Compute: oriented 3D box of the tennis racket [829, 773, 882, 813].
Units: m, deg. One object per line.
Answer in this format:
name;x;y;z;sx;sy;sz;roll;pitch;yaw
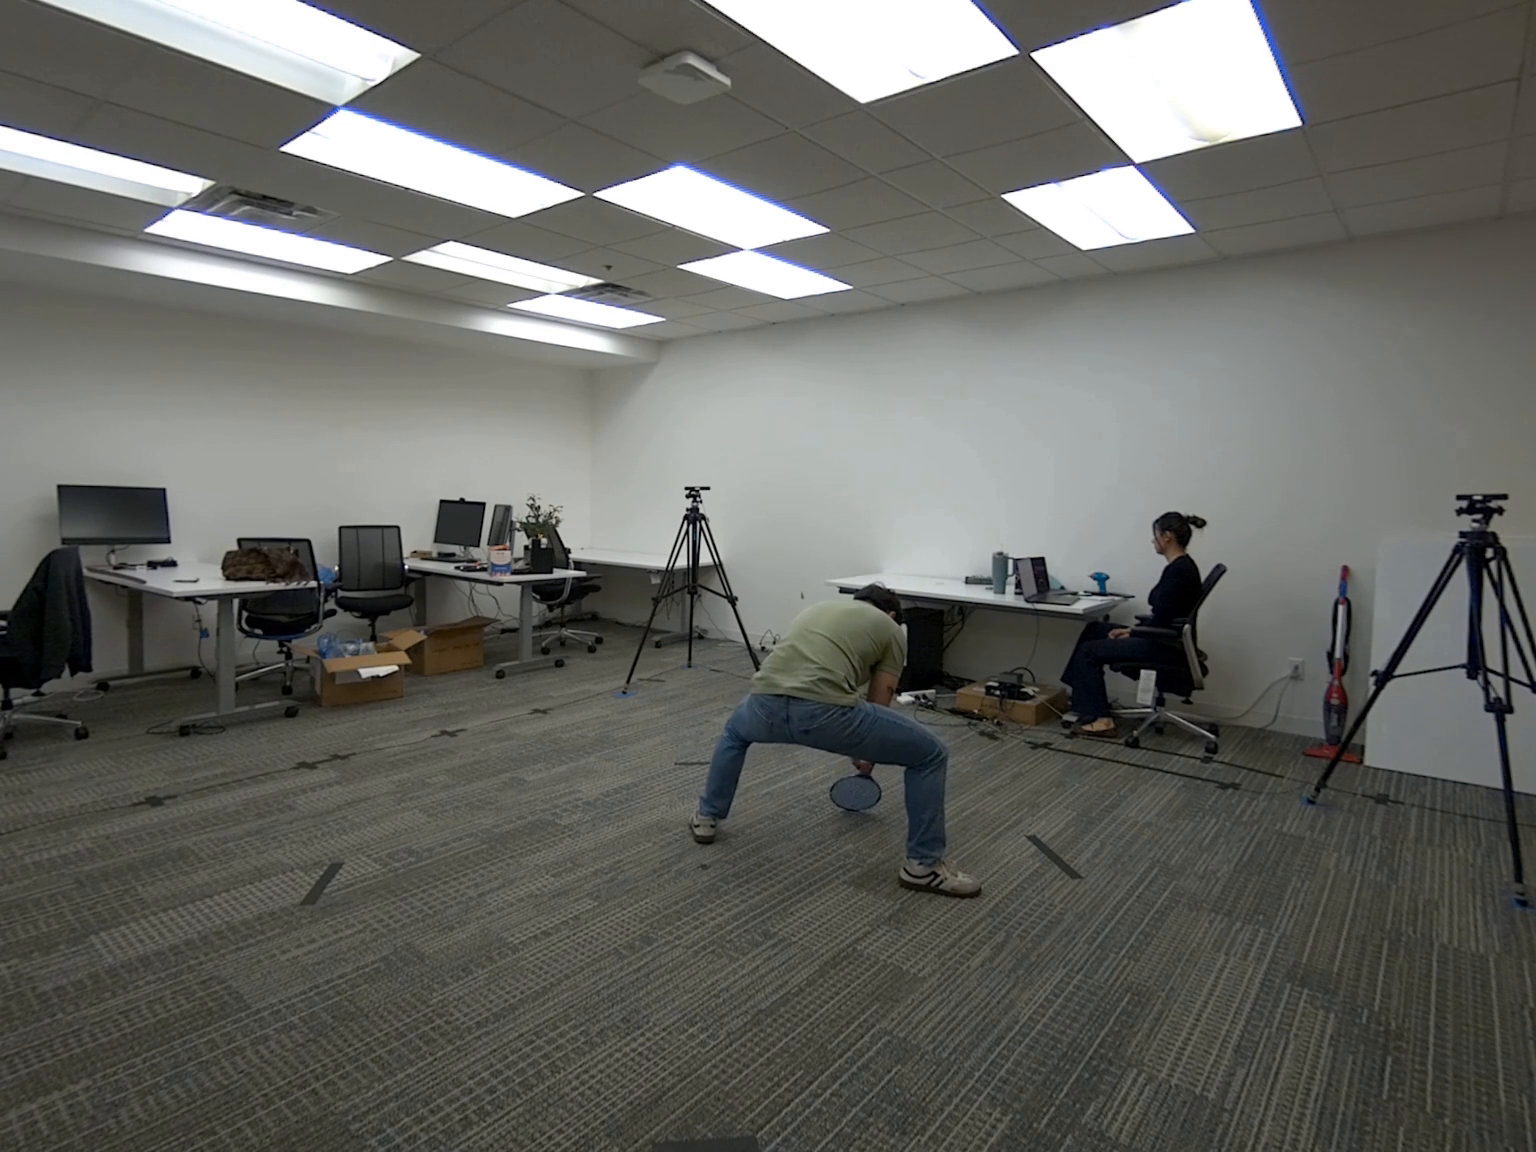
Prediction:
tennis racket;0.379;0.864;3.557;0.213;0.423;0.032;9;43;-2
